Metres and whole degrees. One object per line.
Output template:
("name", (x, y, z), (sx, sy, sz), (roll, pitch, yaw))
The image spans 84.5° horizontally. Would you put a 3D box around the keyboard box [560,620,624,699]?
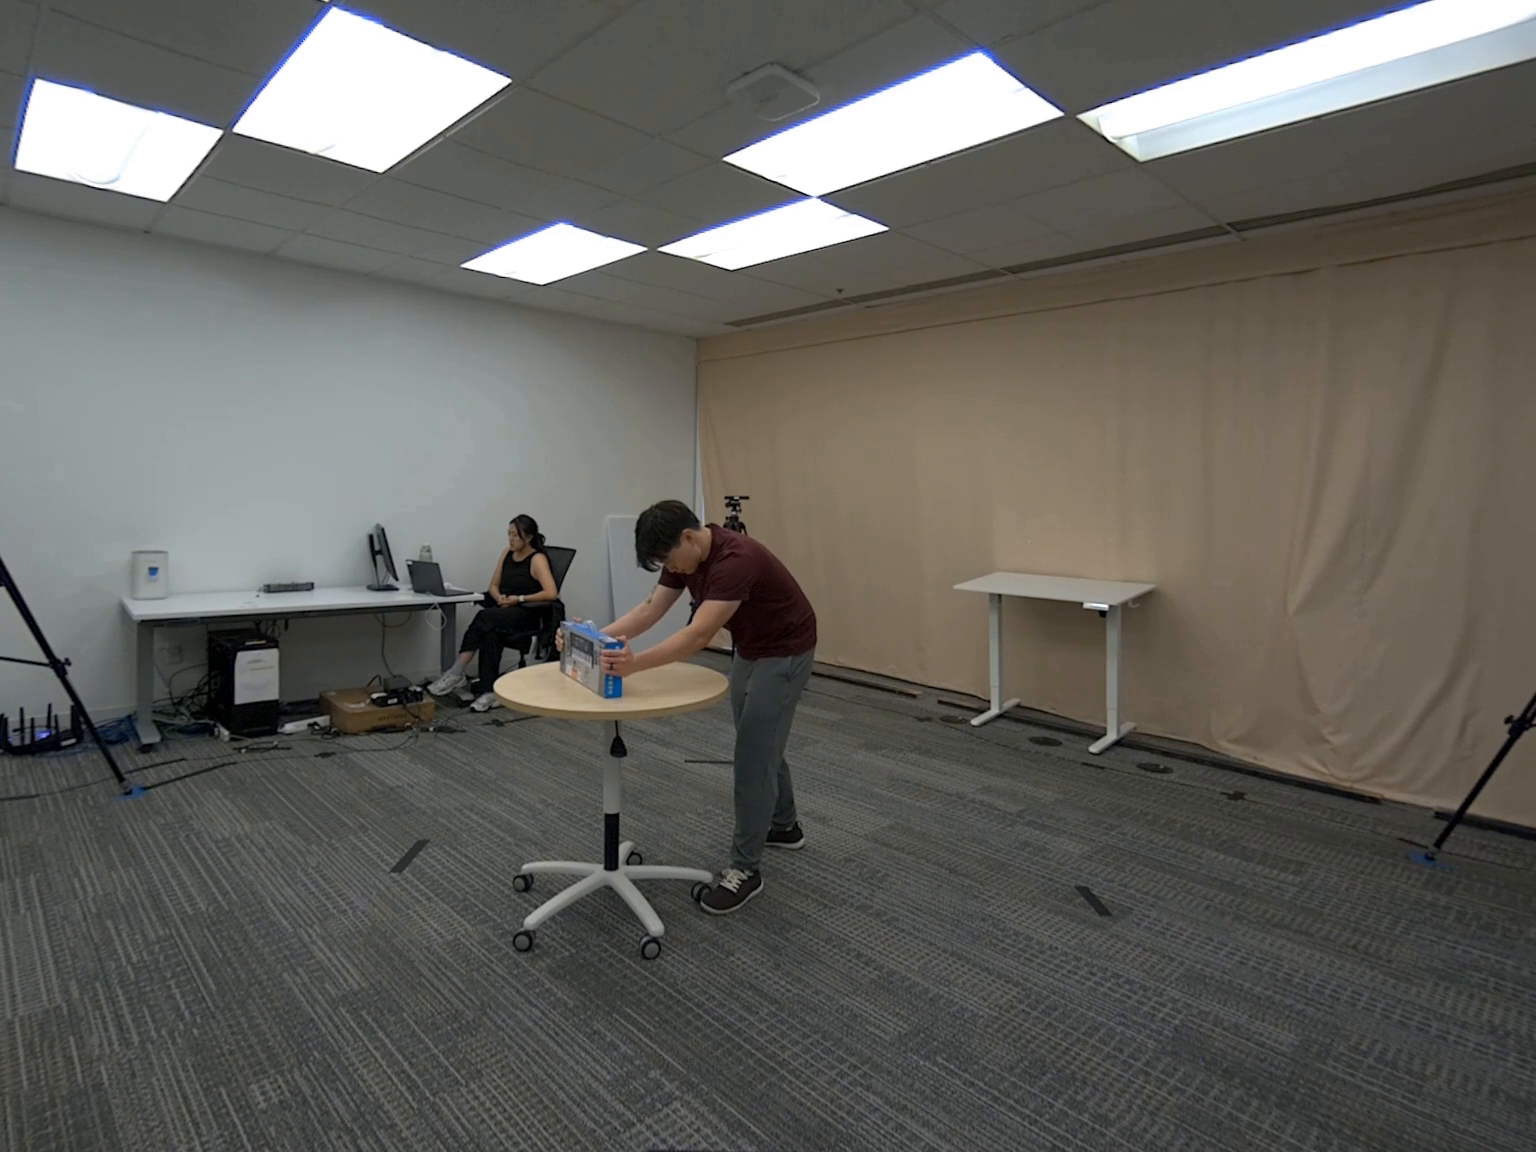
("keyboard box", (-0.591, 0.273, 2.743), (0.058, 0.175, 0.447), (-4, 8, -30))
